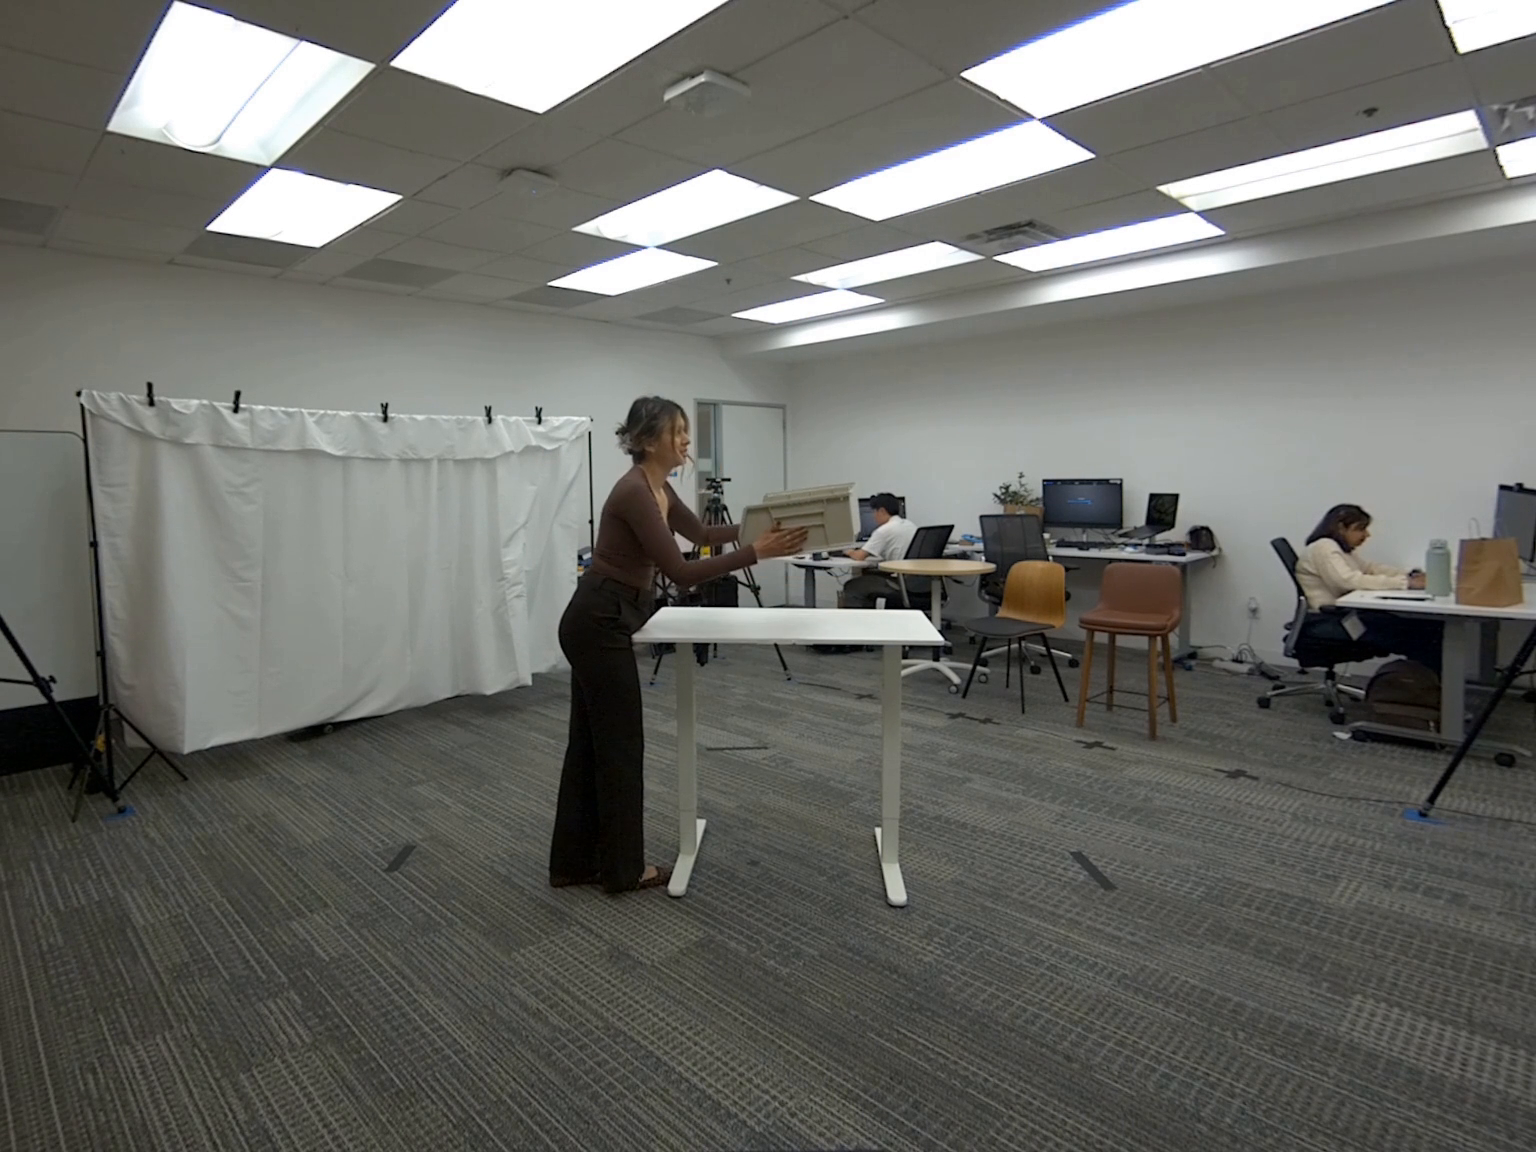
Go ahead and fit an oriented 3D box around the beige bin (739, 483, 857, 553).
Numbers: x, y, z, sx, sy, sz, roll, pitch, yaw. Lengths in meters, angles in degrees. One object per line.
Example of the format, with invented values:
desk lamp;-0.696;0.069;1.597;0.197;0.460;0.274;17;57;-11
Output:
beige bin;0.119;-0.190;2.904;0.381;0.187;0.422;-5;9;9
